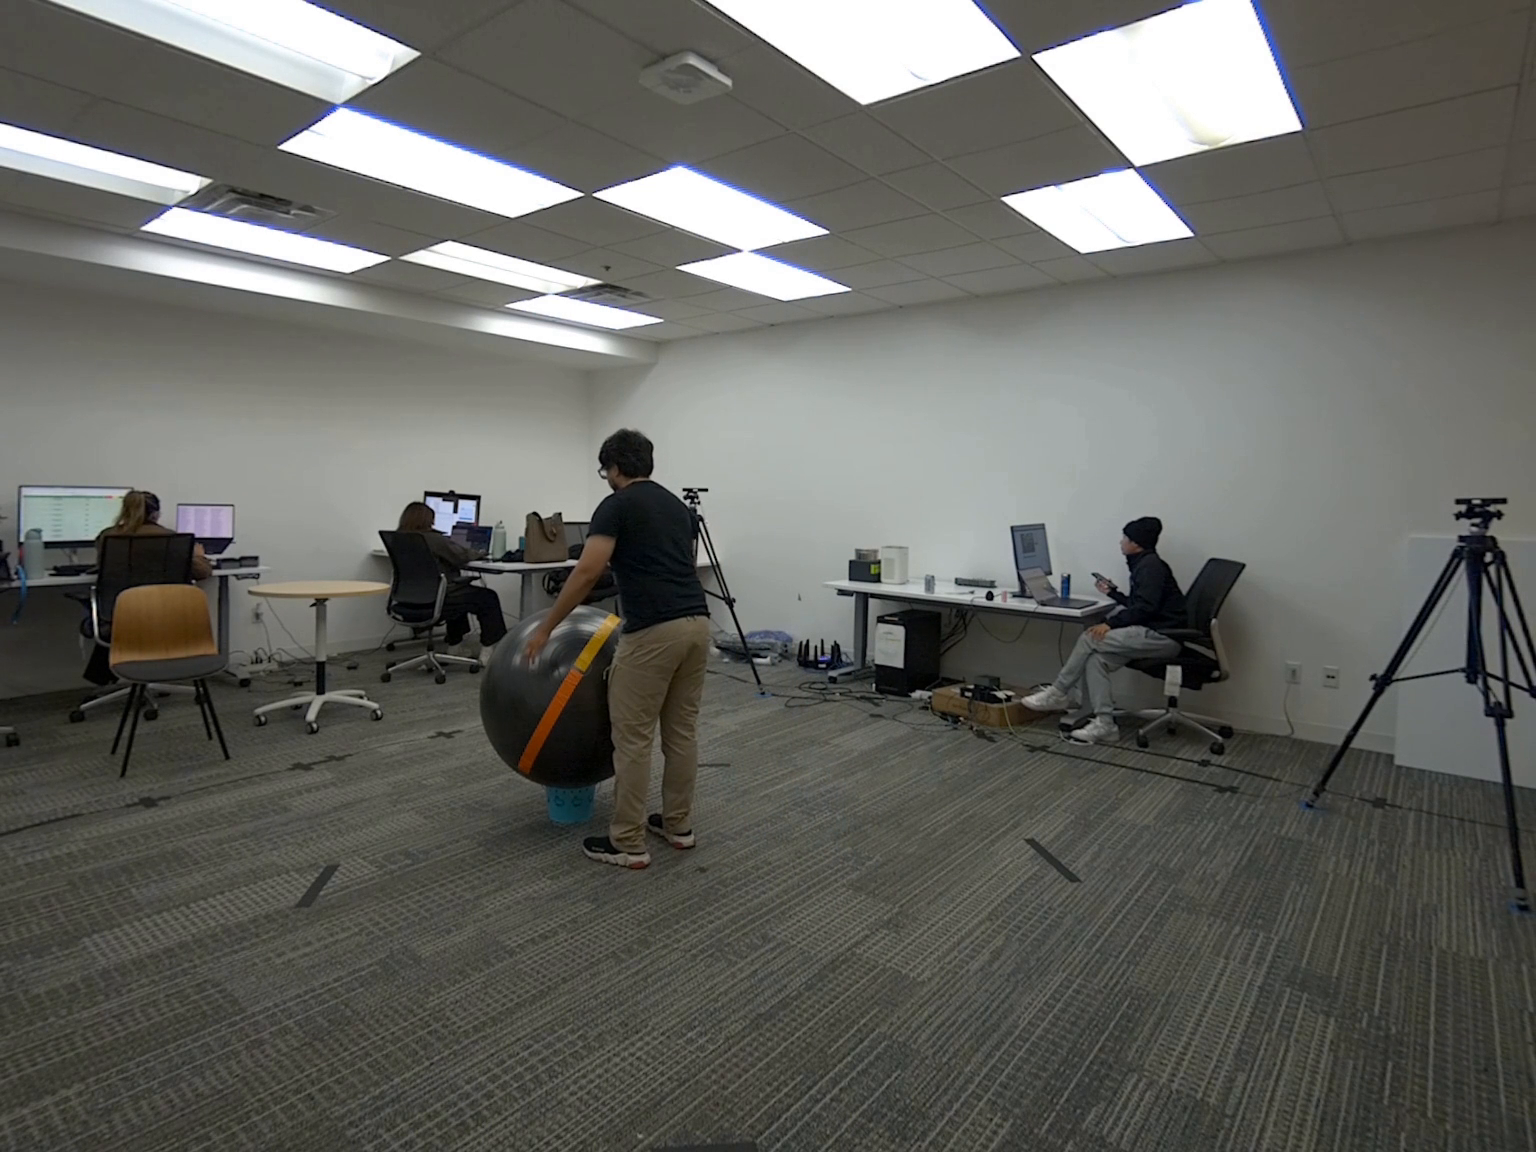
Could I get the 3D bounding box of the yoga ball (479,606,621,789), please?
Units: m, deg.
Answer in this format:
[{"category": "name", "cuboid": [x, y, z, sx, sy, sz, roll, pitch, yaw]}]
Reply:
[{"category": "yoga ball", "cuboid": [-0.843, 0.502, 3.593, 0.757, 0.756, 0.762, 1, 4, -2]}]
